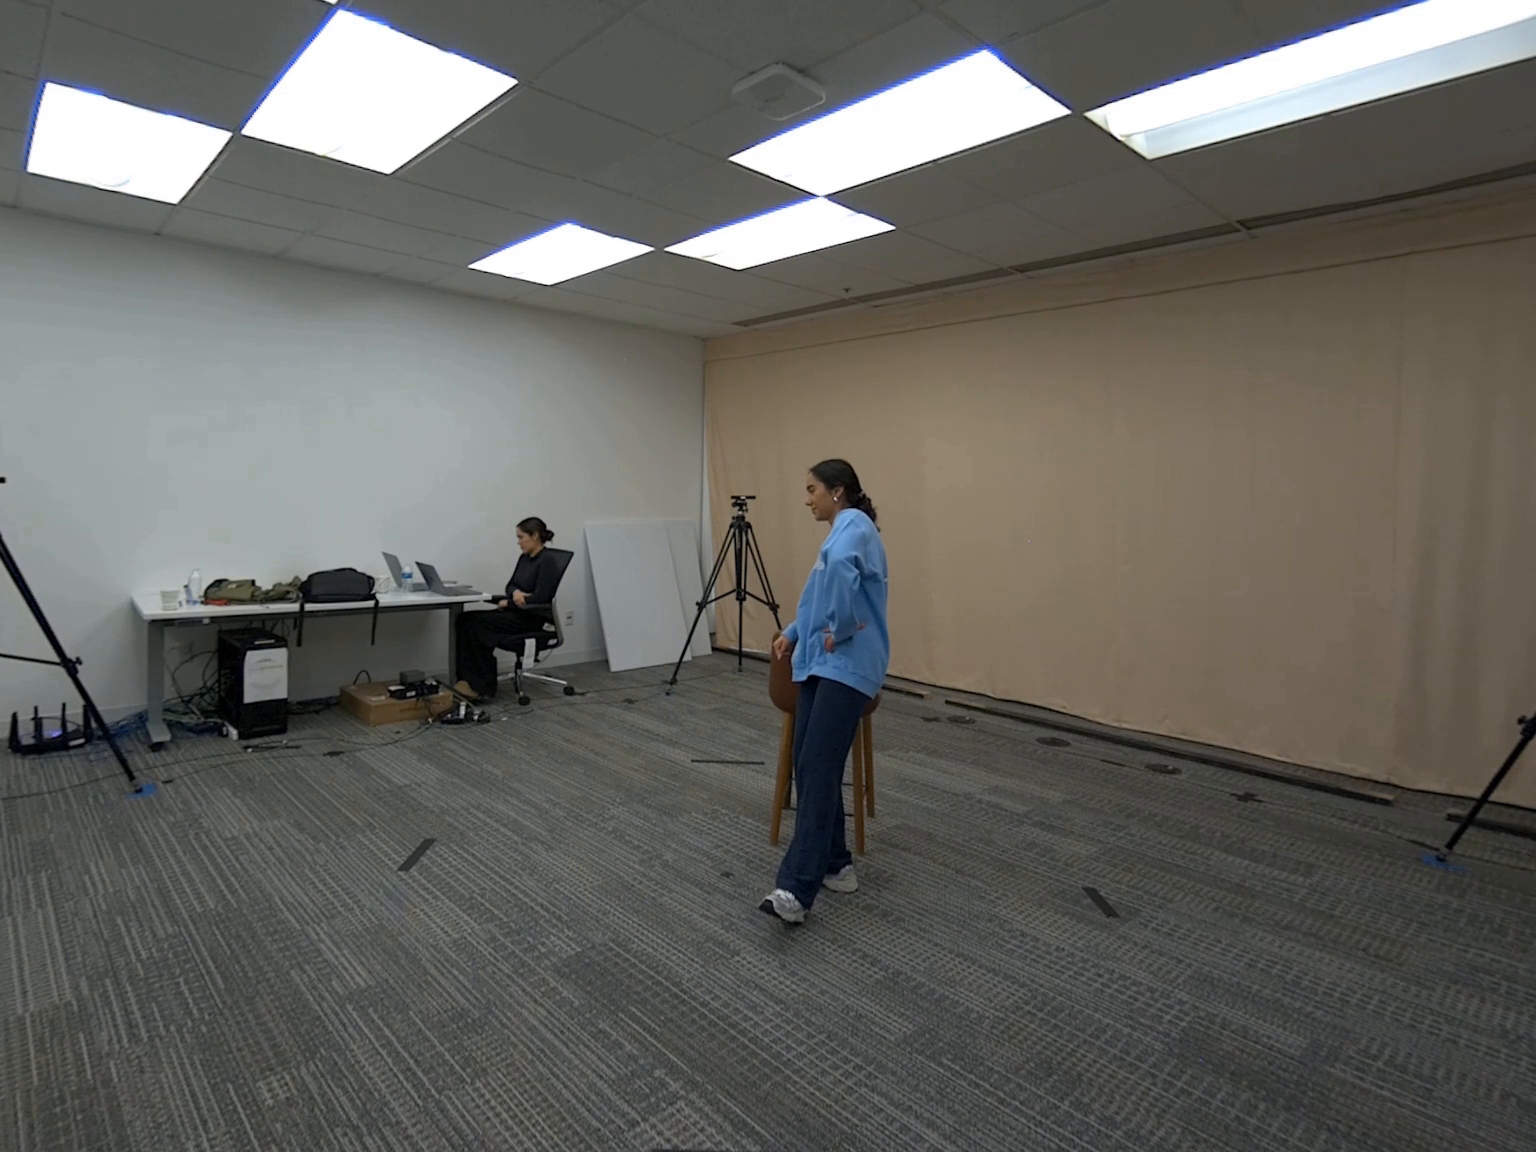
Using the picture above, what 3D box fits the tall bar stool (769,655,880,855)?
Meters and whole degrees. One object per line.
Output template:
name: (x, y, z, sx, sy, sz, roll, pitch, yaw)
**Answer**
tall bar stool: (0.237, 0.639, 3.534, 0.461, 0.886, 0.464, 2, 5, 13)
